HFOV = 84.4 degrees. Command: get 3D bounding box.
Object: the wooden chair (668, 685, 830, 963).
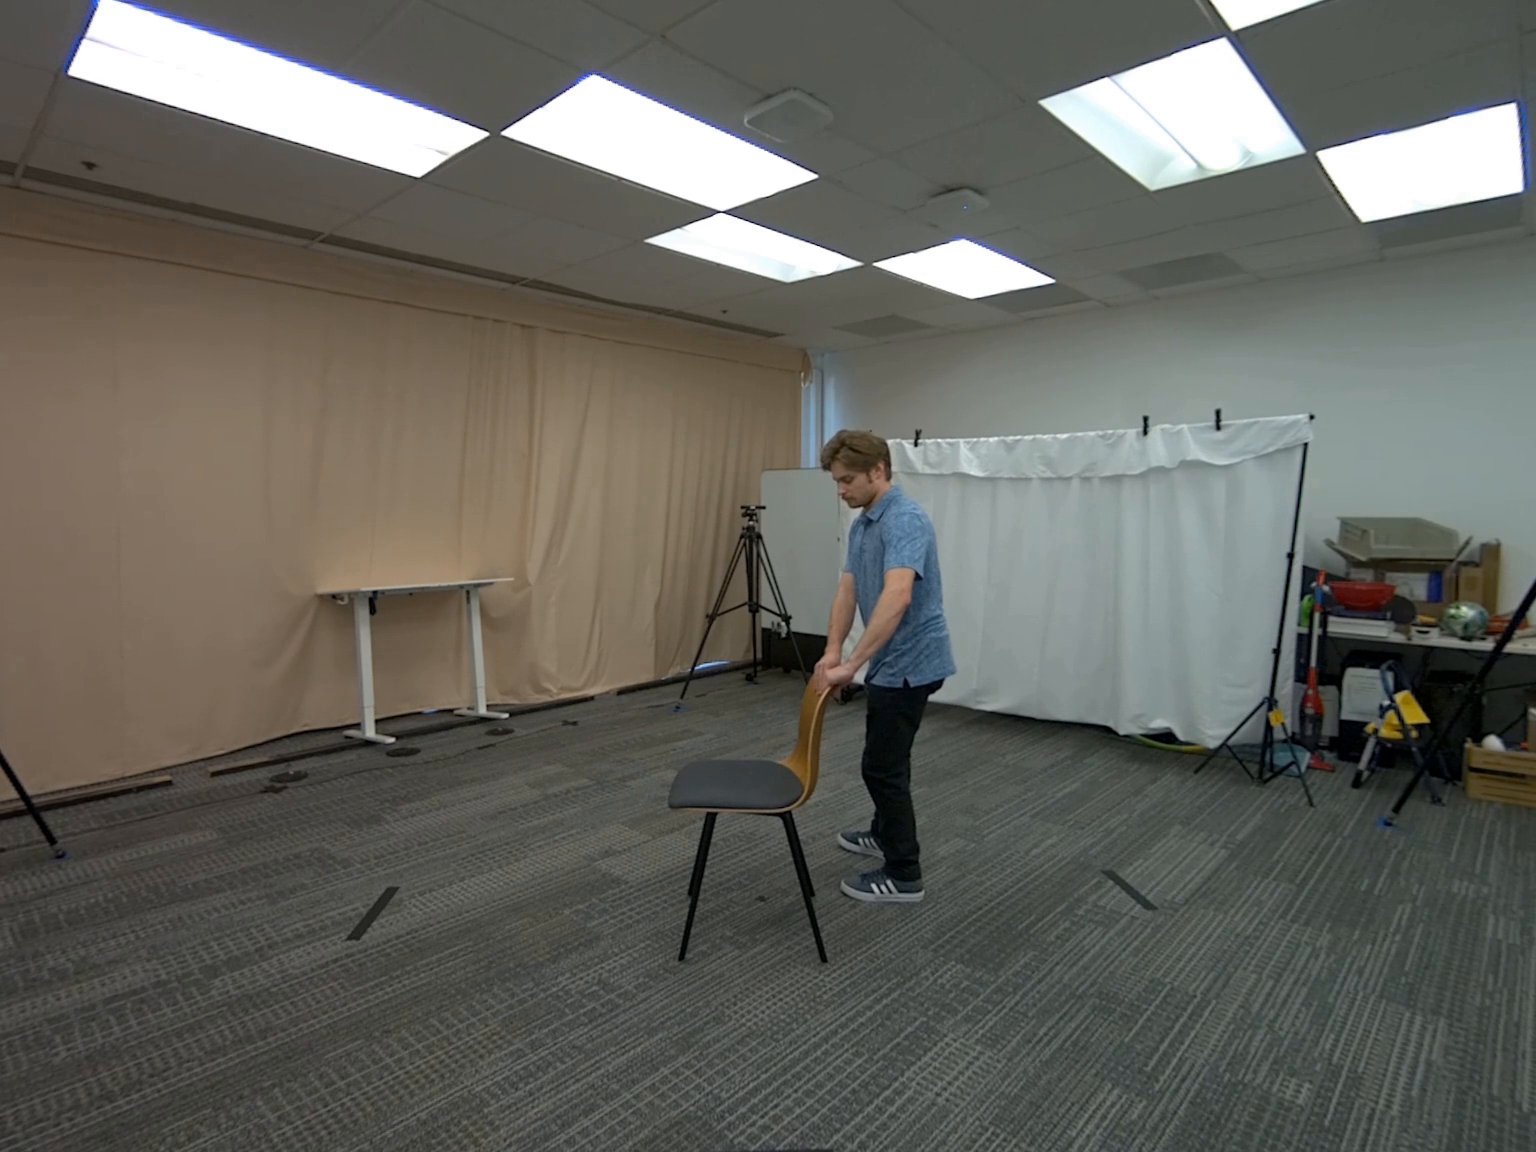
[{"bbox_3d":[-0.058,0.737,2.761,0.524,0.875,0.479,4,4,0],"label":"wooden chair"}]
